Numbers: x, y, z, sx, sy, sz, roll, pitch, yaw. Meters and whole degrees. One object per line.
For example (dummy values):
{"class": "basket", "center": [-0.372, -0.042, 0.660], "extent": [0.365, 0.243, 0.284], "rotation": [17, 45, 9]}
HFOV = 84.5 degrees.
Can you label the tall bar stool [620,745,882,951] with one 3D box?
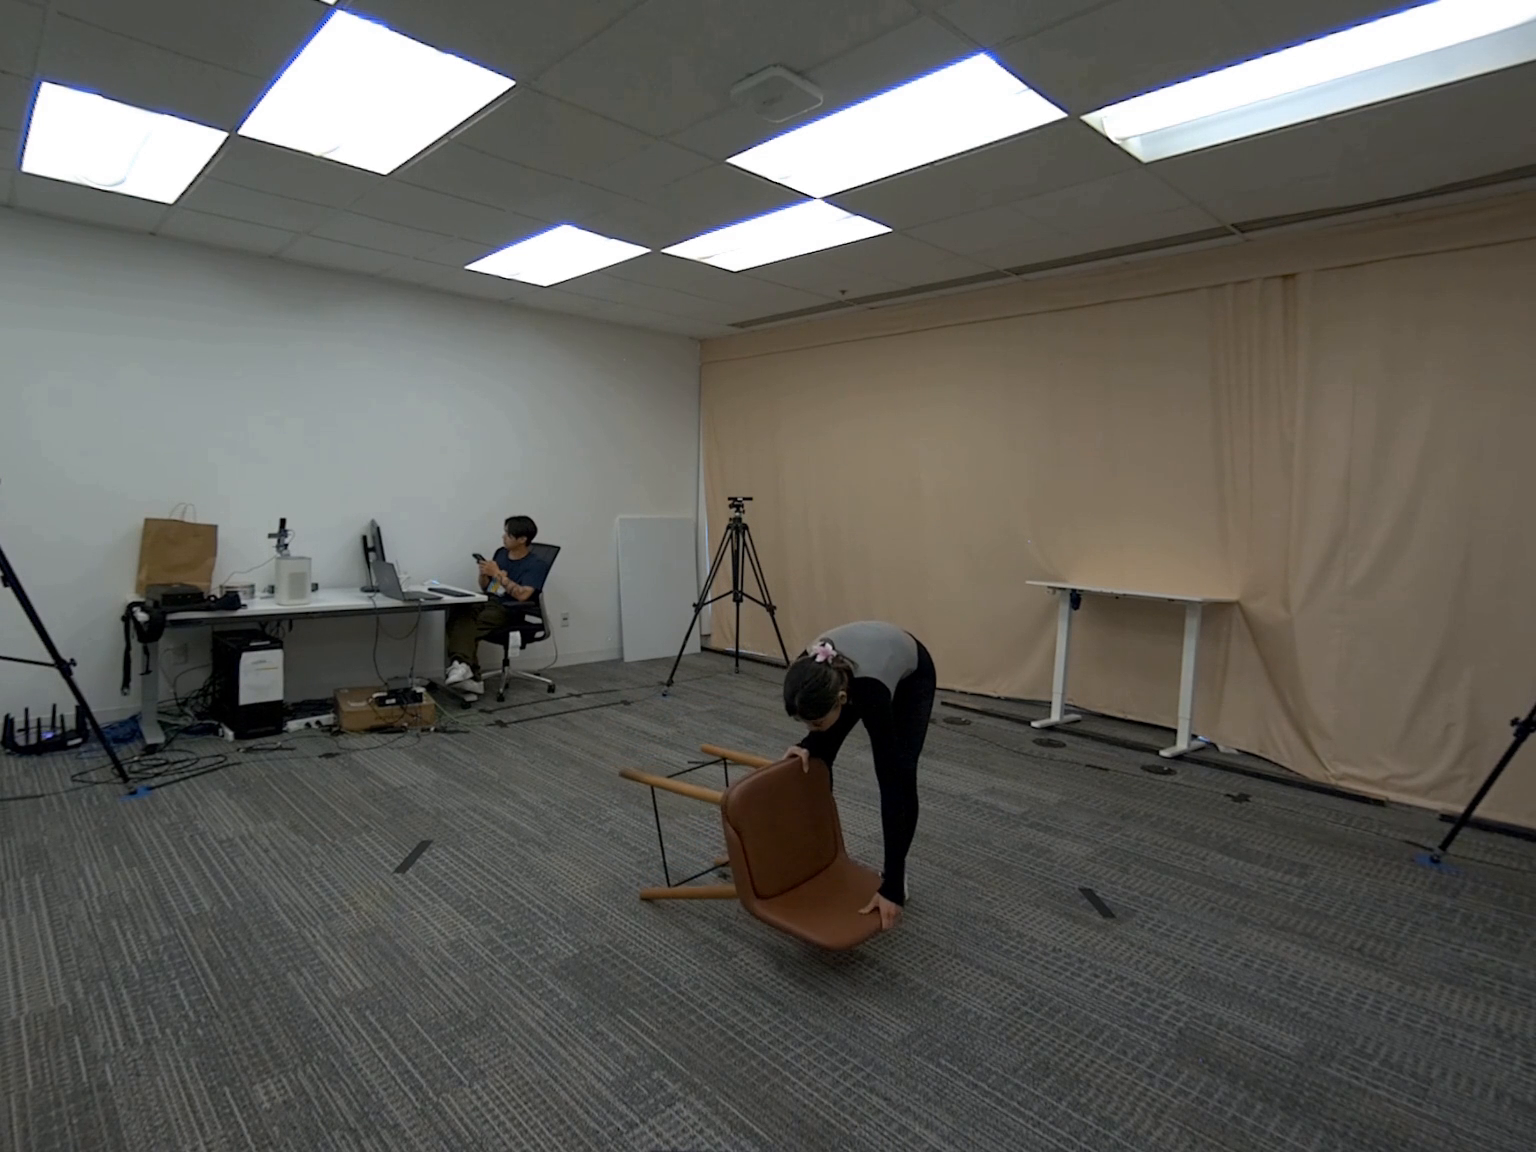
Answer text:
{"class": "tall bar stool", "center": [-0.046, 0.838, 2.732], "extent": [0.446, 0.468, 0.908], "rotation": [-5, -1, -43]}
